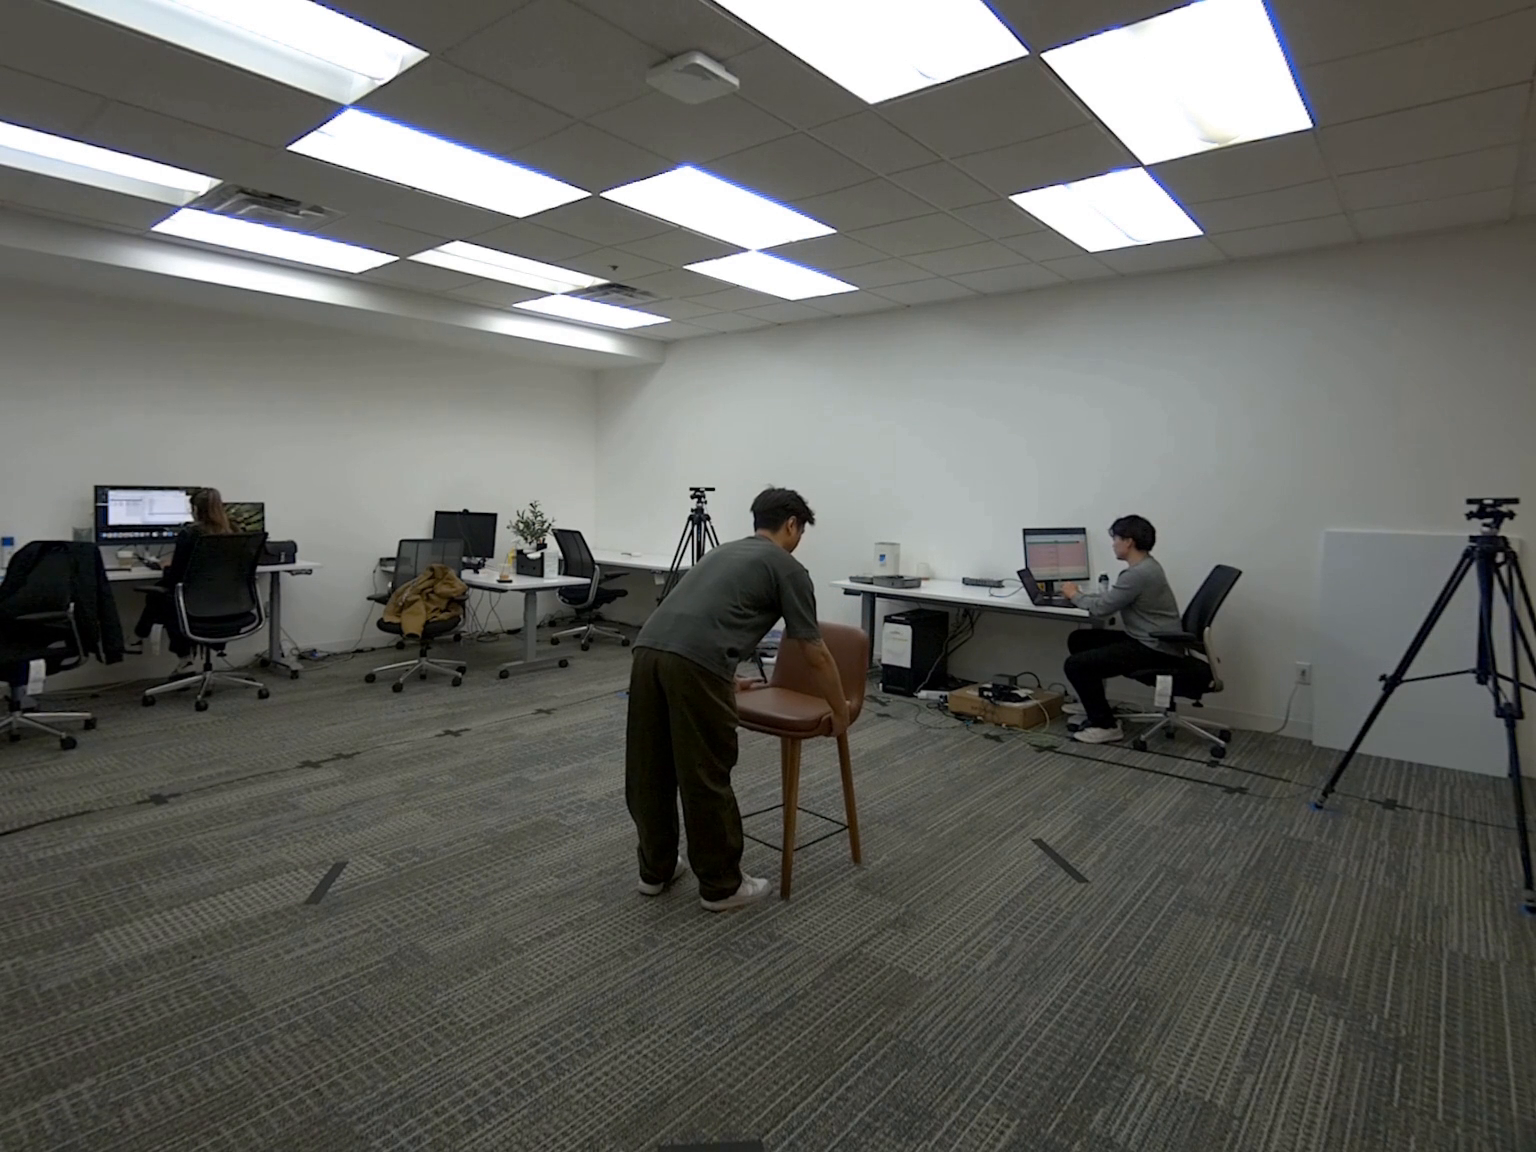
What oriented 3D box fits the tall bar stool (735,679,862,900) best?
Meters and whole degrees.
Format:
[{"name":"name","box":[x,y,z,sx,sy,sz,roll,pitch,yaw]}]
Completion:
[{"name":"tall bar stool","box":[0.071,0.626,3.154,0.472,0.889,0.452,4,2,45]}]
